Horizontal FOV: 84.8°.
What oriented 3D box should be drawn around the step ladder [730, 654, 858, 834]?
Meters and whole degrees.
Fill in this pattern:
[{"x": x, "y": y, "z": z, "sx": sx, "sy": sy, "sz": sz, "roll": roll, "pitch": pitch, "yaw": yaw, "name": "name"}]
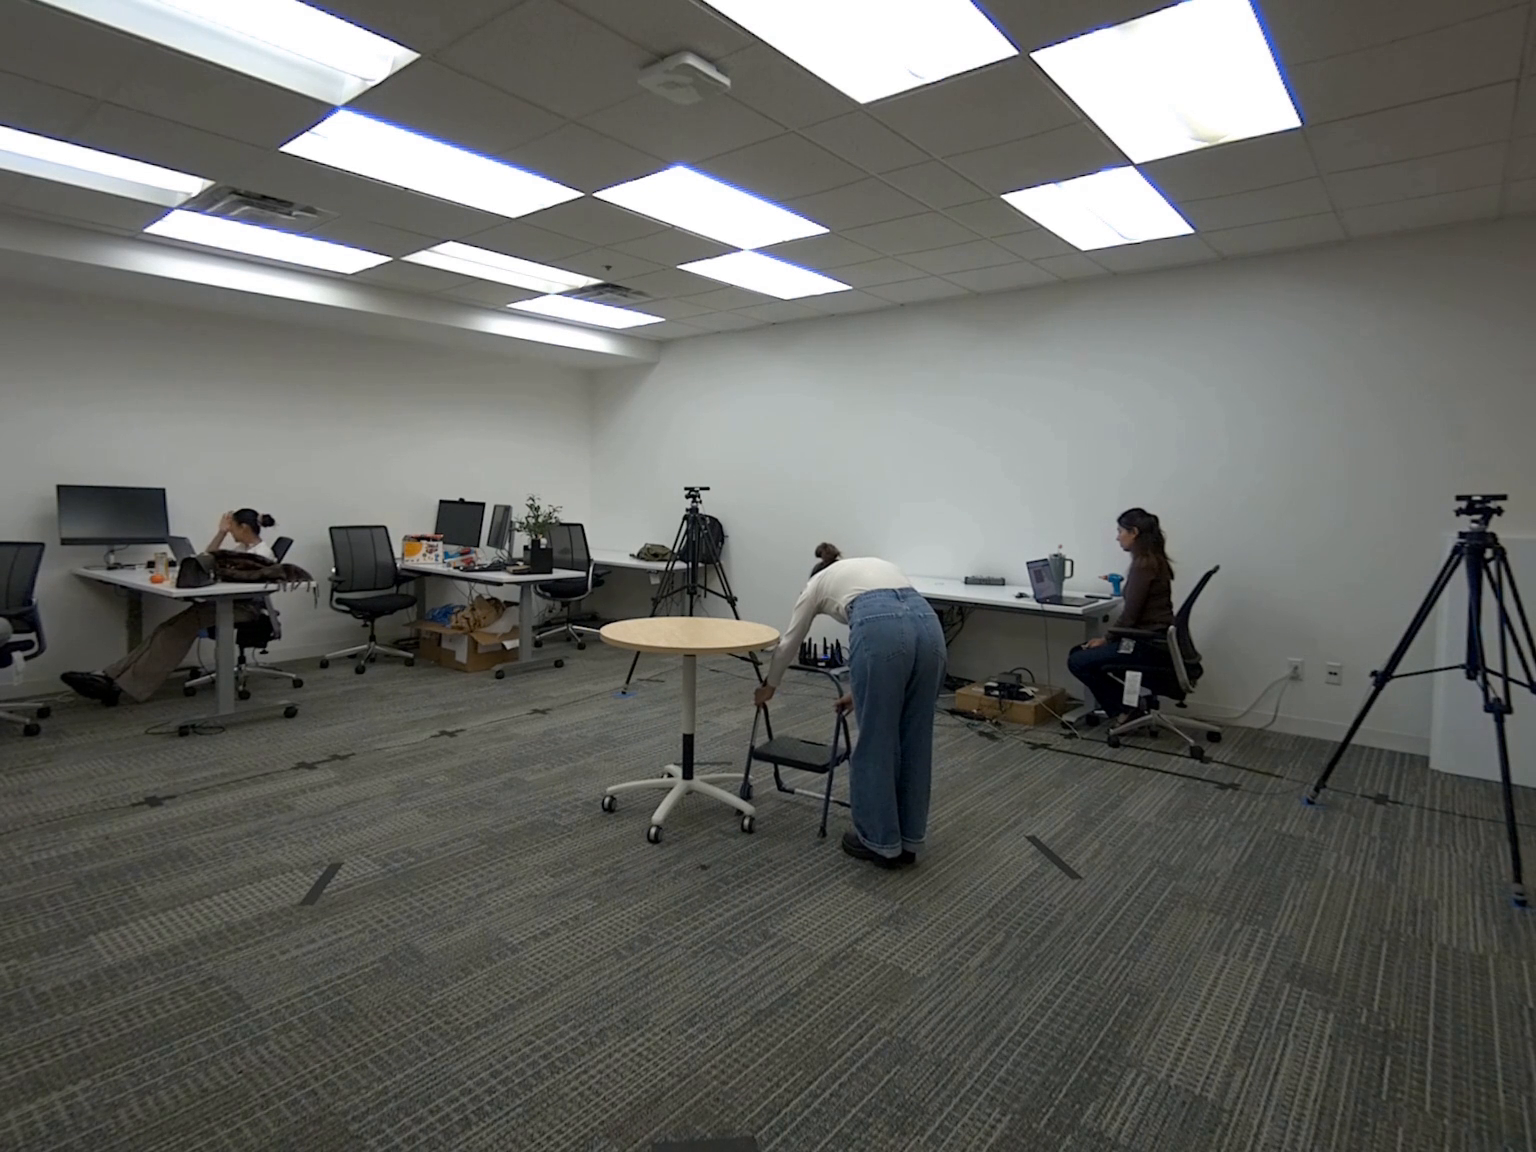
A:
[{"x": 0.122, "y": 0.684, "z": 3.564, "sx": 0.444, "sy": 0.603, "sz": 0.340, "roll": 2, "pitch": 5, "yaw": 34, "name": "step ladder"}]
